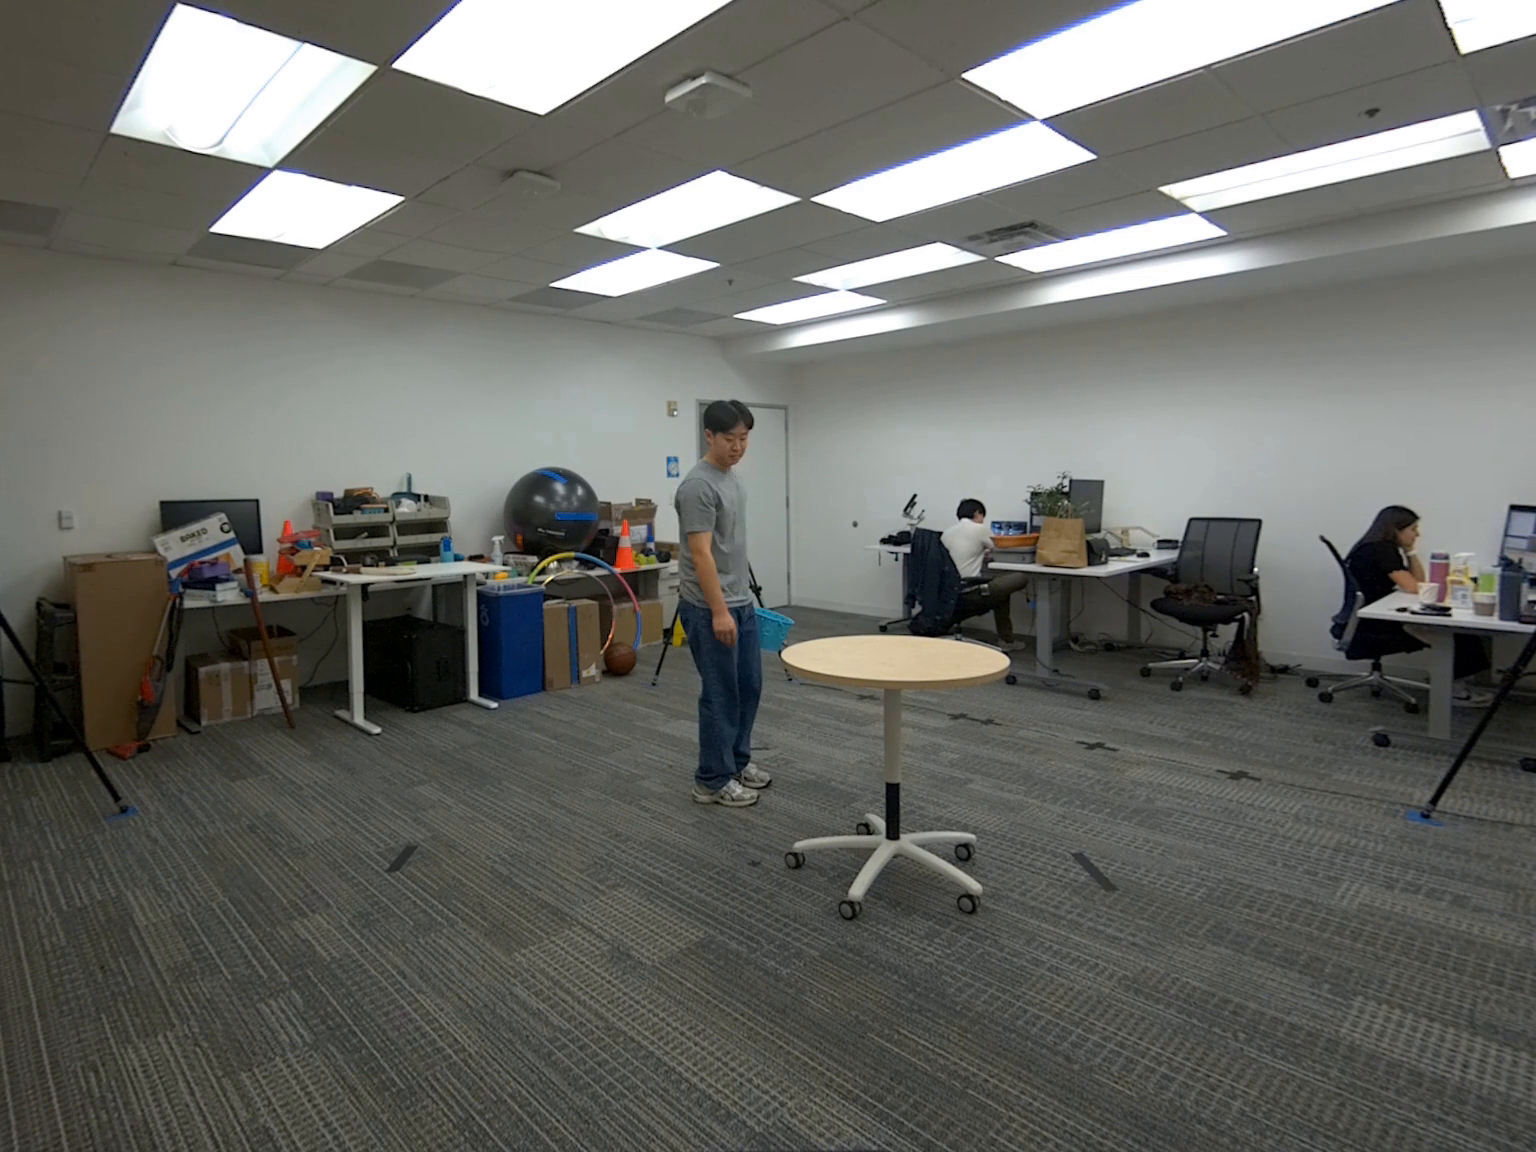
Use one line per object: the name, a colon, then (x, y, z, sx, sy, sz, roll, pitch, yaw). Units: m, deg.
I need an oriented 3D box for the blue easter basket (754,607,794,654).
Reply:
blue easter basket: (0.004, 0.251, 4.039, 0.243, 0.155, 0.245, 14, 7, -3)
